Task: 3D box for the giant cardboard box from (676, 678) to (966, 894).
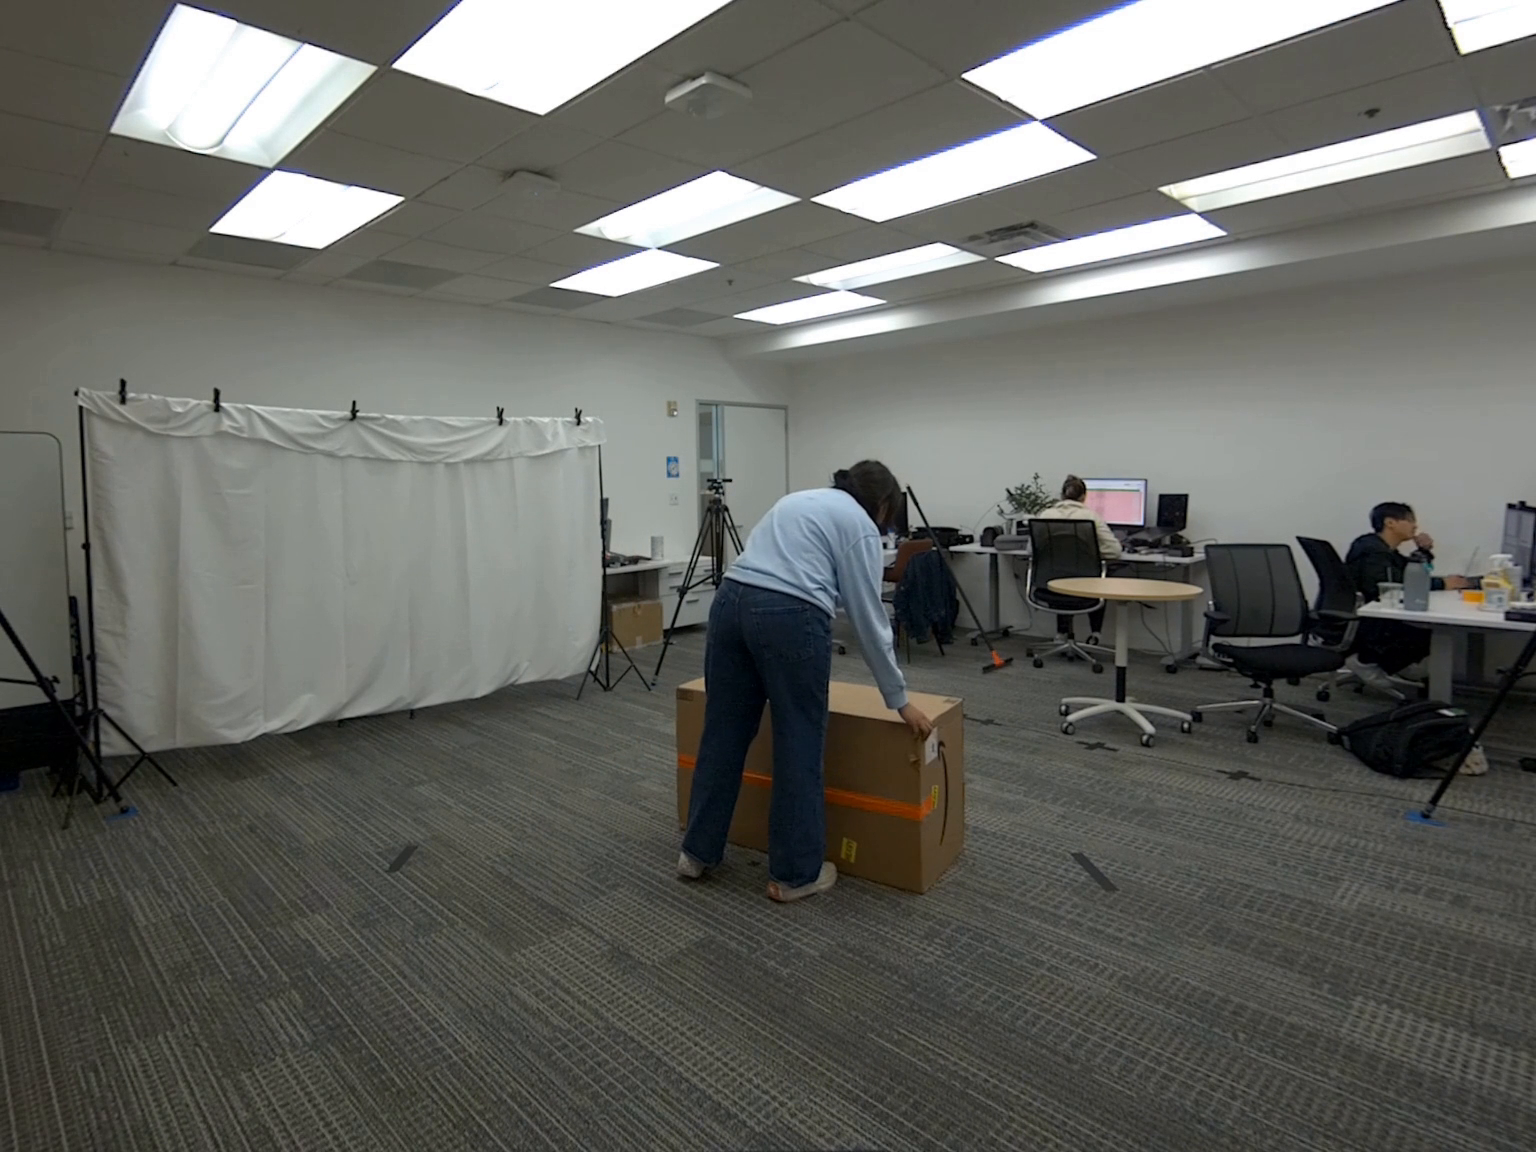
[{"bbox_3d":[0.186,0.733,3.293,1.056,0.582,0.436,3,5,33],"label":"giant cardboard box"}]
